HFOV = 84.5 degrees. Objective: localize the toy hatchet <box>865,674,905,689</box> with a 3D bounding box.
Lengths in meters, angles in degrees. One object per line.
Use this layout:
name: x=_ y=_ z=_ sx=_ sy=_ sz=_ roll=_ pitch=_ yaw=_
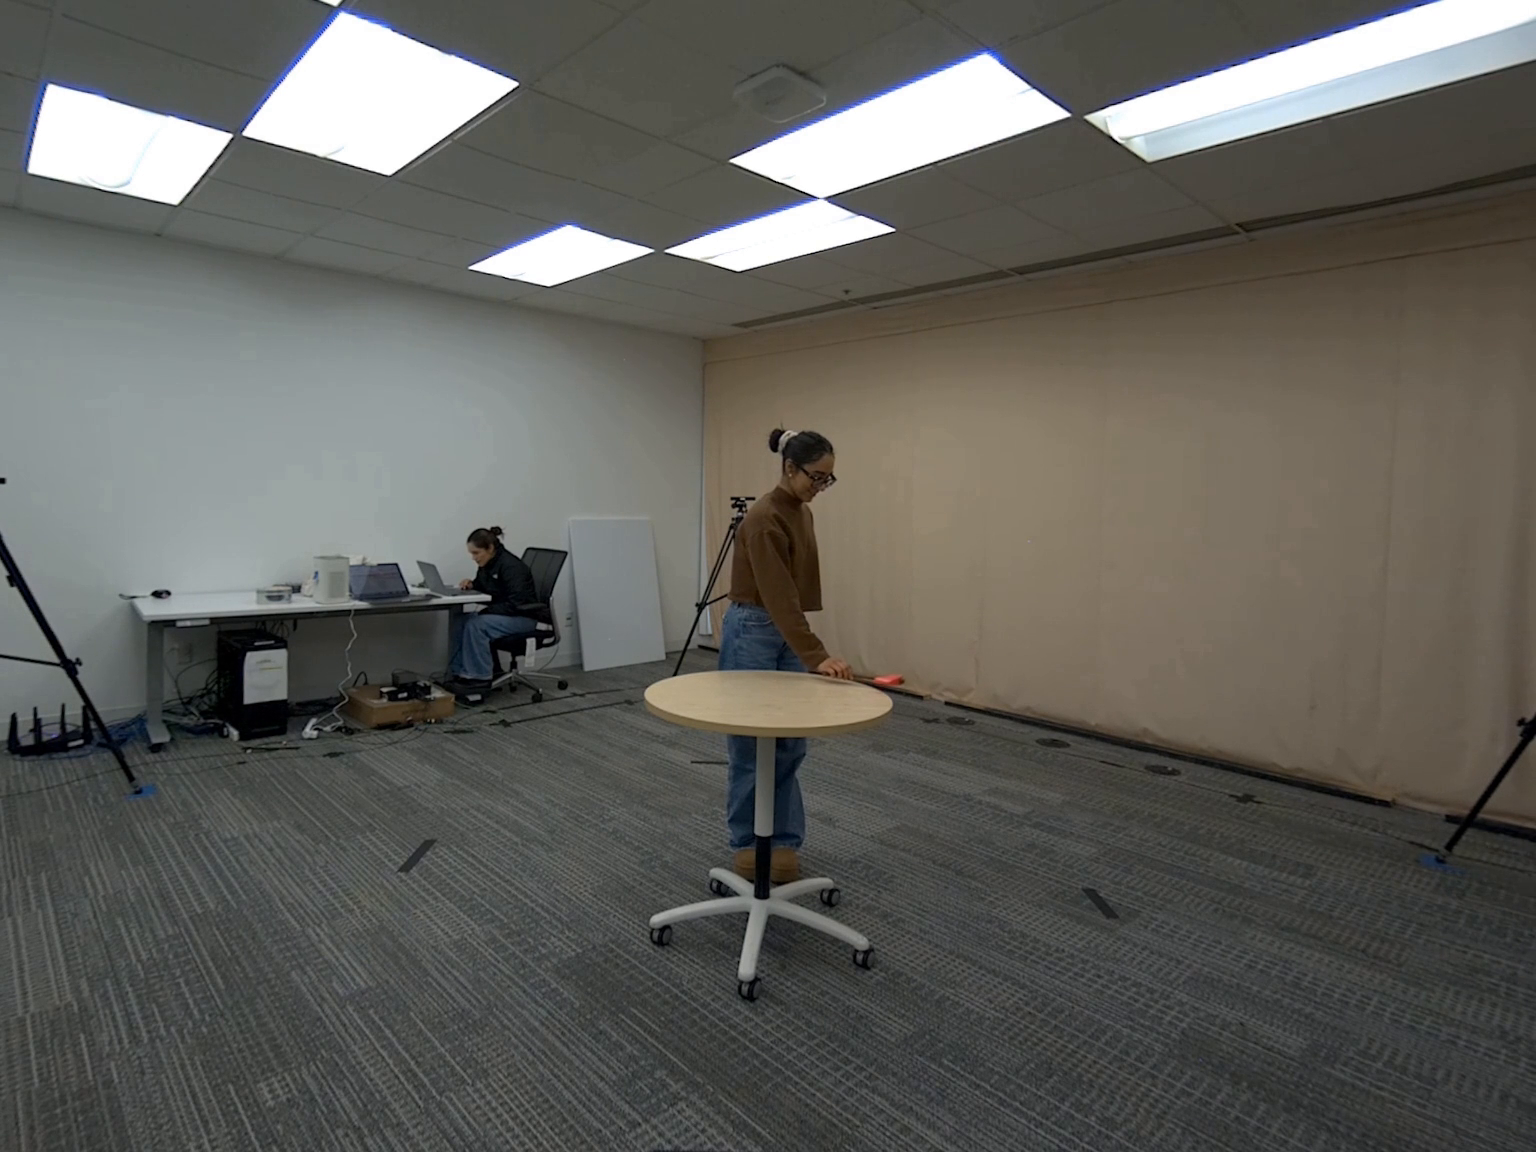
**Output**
toy hatchet: x=0.301 y=0.347 z=2.804 sx=0.276 sy=0.030 sz=0.128 roll=-3 pitch=-3 yaw=38
